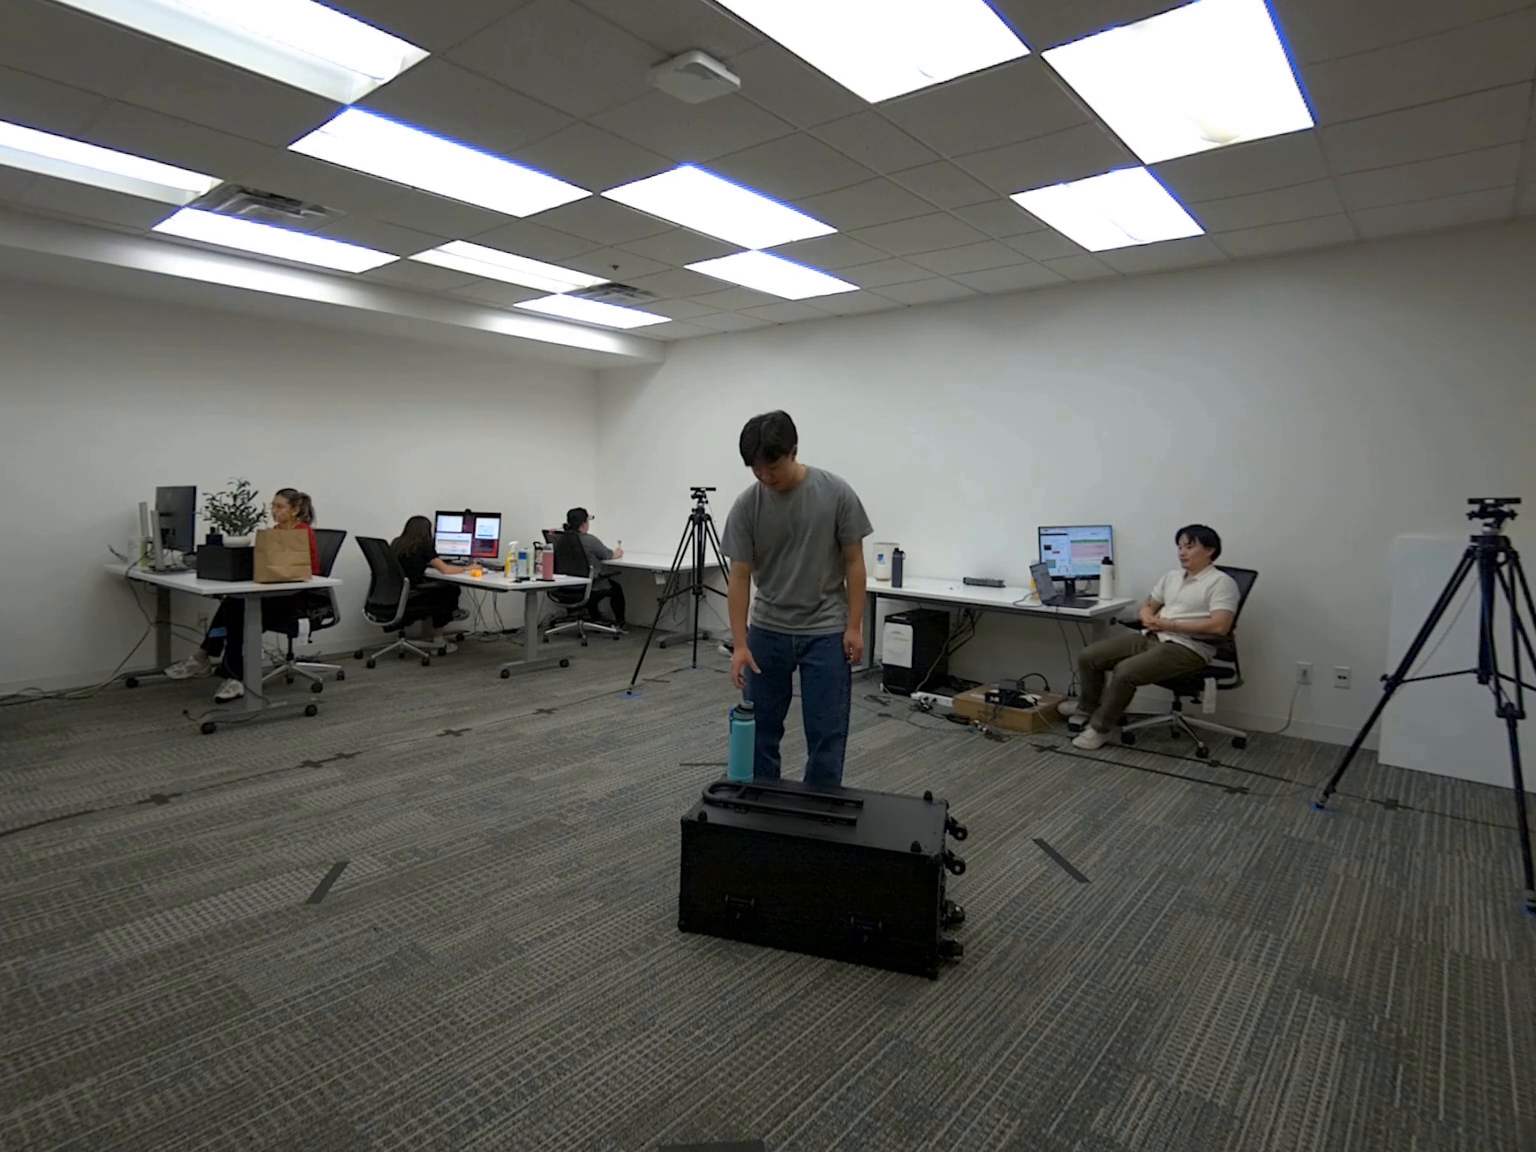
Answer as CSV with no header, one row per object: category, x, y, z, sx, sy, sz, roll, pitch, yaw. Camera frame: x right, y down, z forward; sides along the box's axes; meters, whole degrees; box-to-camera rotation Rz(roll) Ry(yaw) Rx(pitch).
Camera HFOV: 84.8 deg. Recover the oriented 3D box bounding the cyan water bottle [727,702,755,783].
cyan water bottle,-0.103,0.581,2.979,0.092,0.282,0.093,1,6,-2
